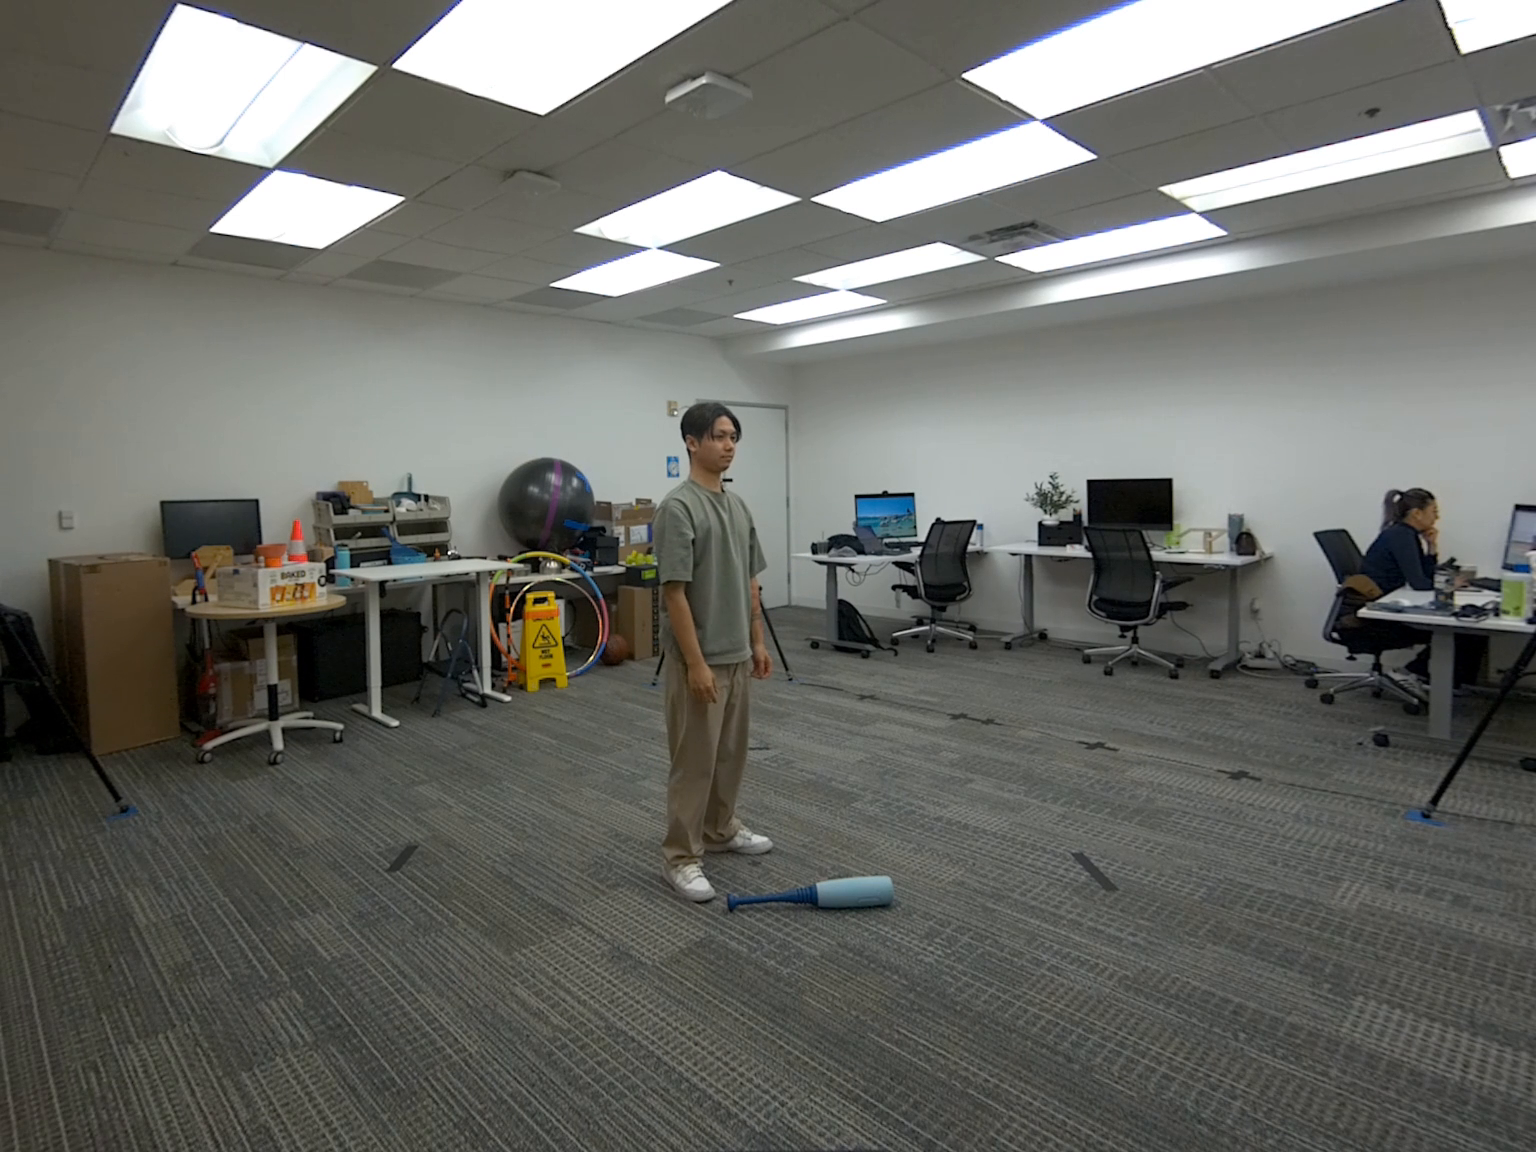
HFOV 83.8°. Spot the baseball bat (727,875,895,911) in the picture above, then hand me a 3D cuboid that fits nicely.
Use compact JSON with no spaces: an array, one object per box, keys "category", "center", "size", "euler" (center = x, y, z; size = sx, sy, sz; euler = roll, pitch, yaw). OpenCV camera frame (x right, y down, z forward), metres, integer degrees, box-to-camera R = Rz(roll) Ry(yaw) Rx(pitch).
[{"category":"baseball bat","center":[0.142,1.042,2.779],"size":[0.542,0.089,0.089],"euler":[-3,5,-1]}]
